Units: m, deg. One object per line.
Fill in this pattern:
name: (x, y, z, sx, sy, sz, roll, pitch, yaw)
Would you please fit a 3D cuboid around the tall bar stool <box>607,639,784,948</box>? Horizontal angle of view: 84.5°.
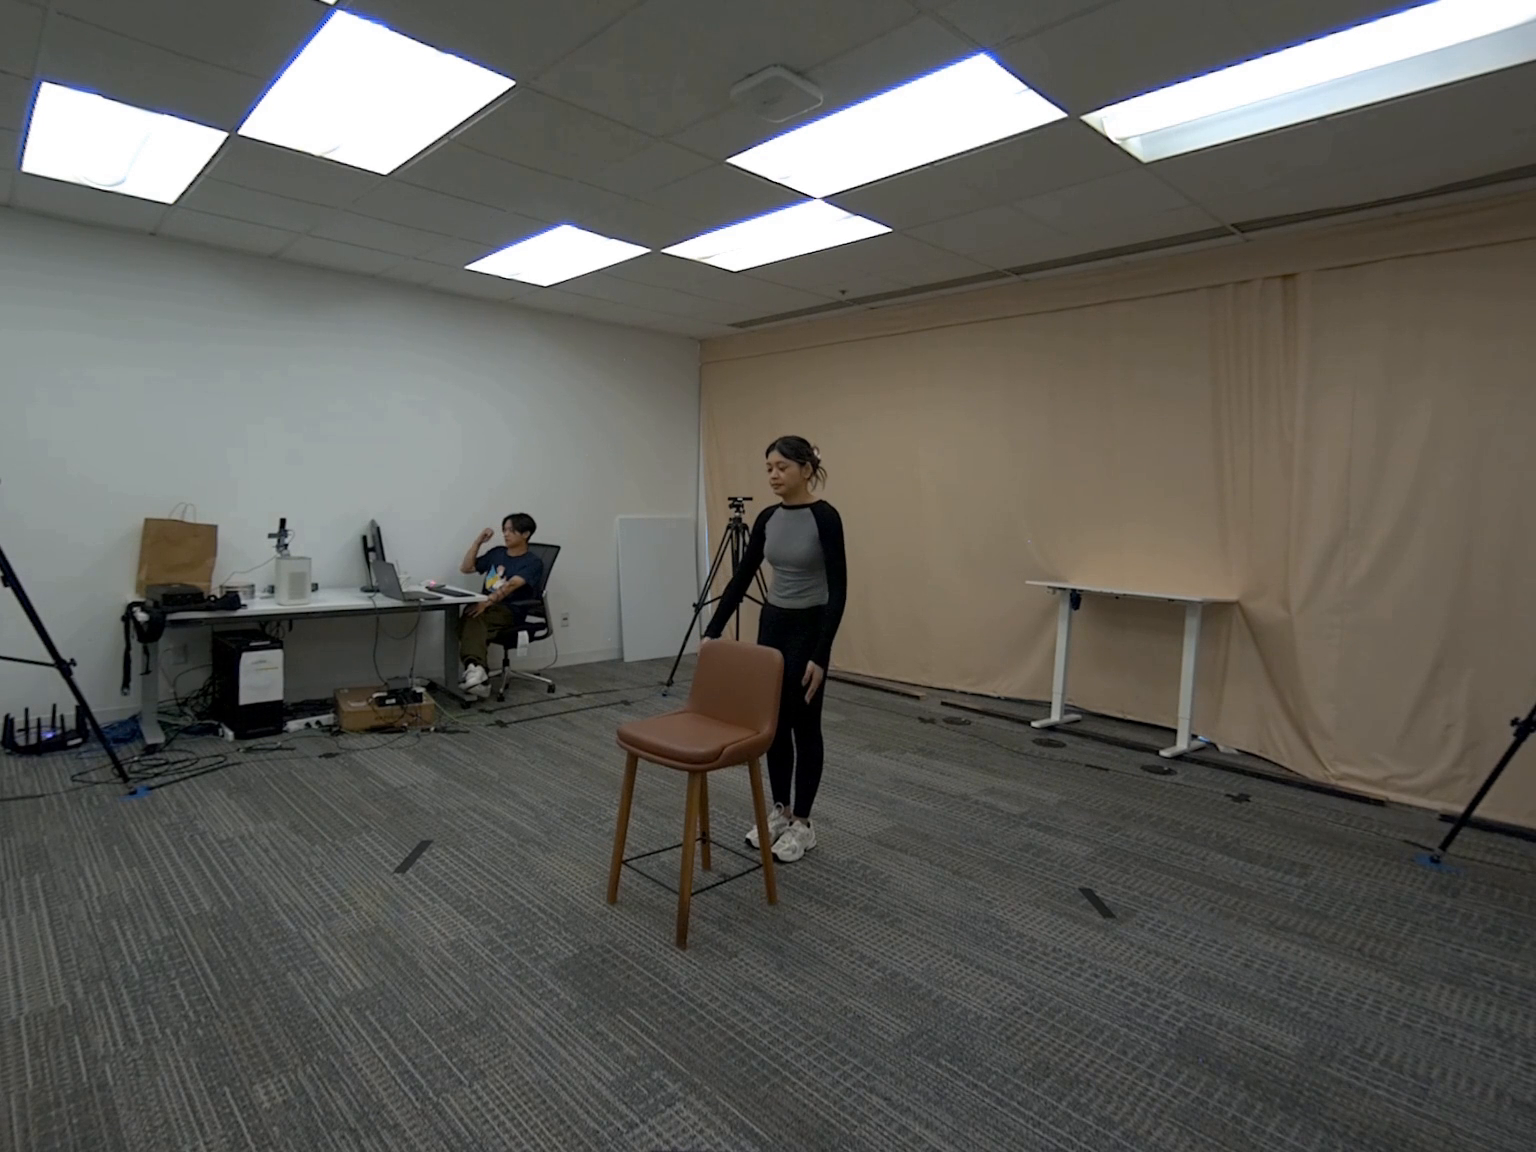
tall bar stool: (-0.244, 0.691, 2.864, 0.456, 0.889, 0.468, 1, 3, -44)
